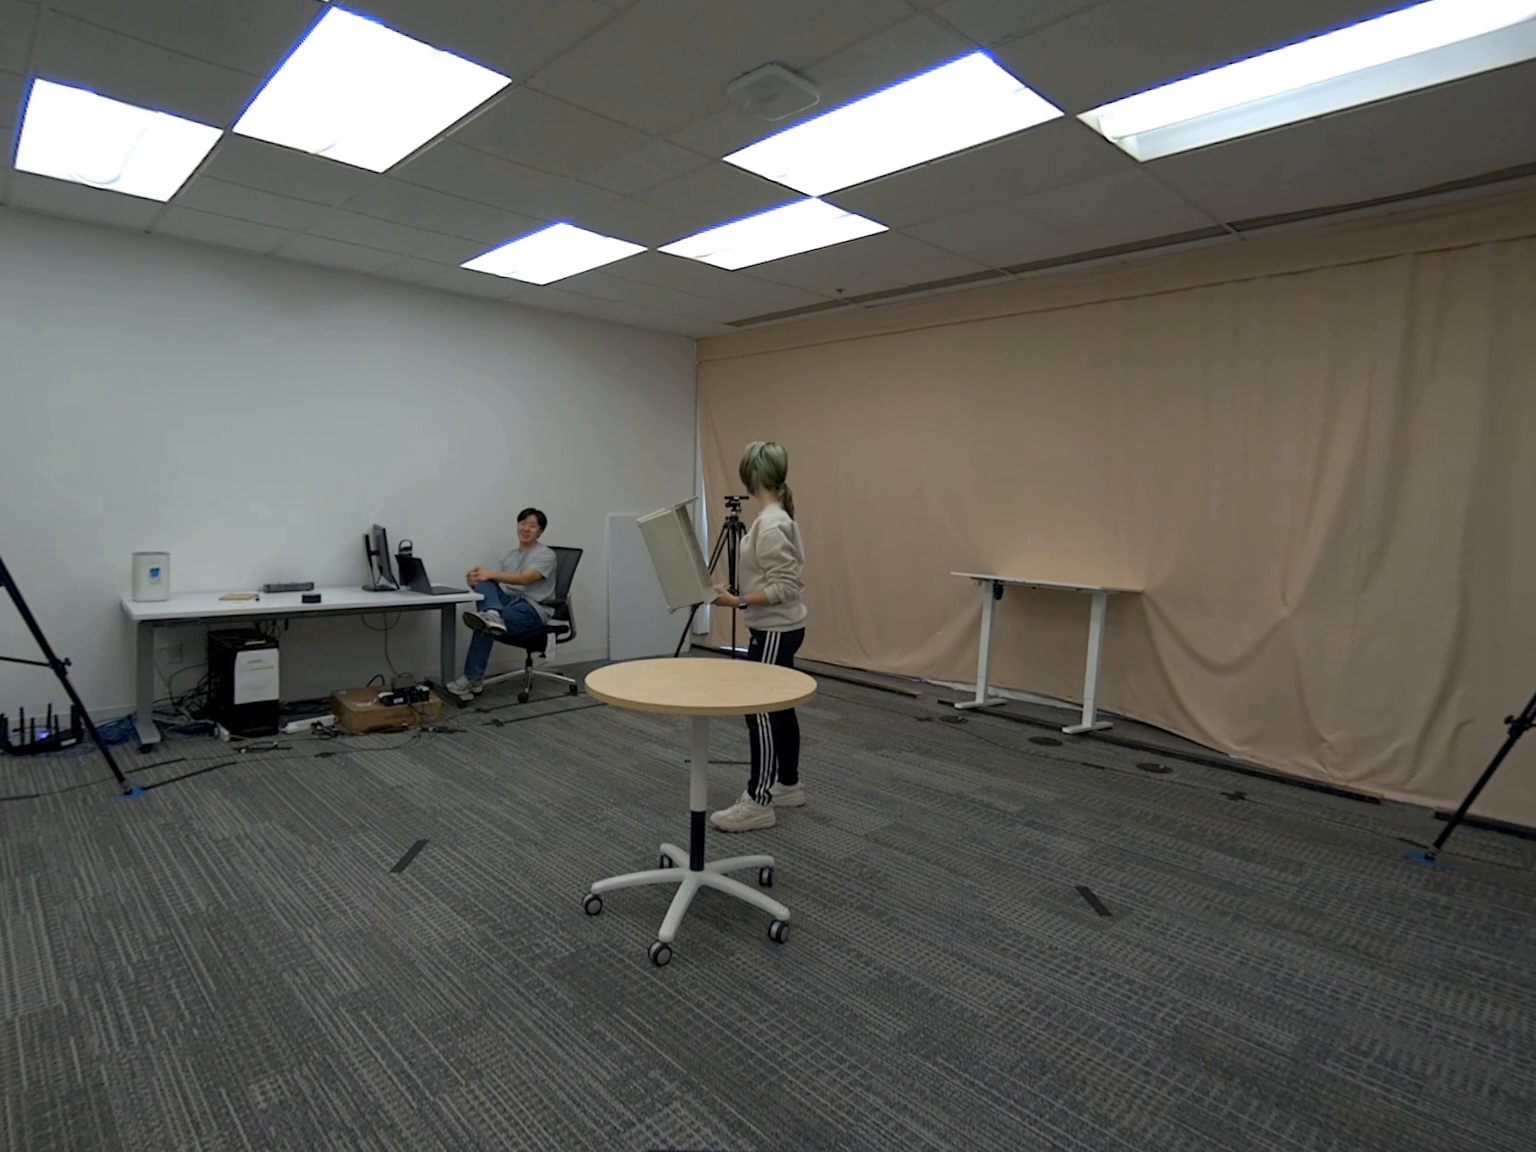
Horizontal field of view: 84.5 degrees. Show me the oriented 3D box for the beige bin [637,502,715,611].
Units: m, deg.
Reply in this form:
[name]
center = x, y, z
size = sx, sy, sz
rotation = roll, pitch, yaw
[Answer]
[beige bin]
center = -0.361, -0.096, 3.562
size = 0.191, 0.420, 0.376
rotation = -17, 7, 16
